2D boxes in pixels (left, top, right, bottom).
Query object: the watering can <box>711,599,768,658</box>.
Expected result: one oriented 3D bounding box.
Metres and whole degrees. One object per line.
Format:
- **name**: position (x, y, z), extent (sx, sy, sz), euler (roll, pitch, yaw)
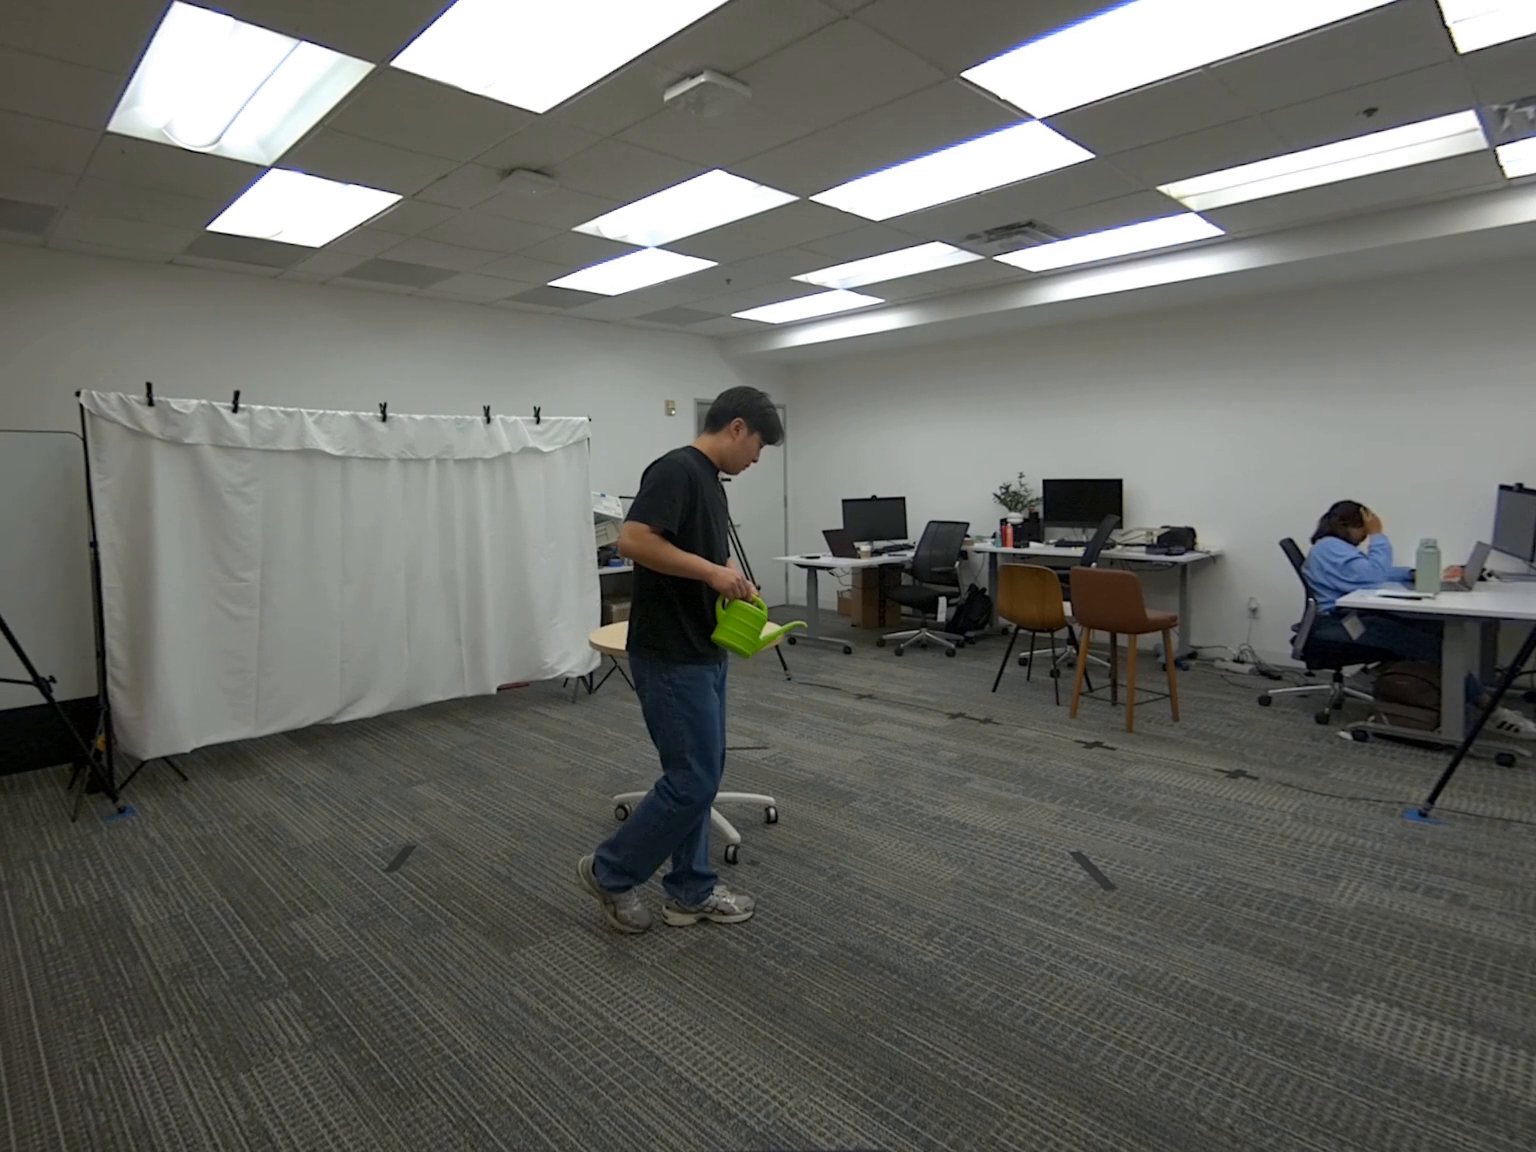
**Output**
- **watering can**: position (-0.031, 0.156, 2.472), extent (0.279, 0.178, 0.097), euler (24, -15, 3)
